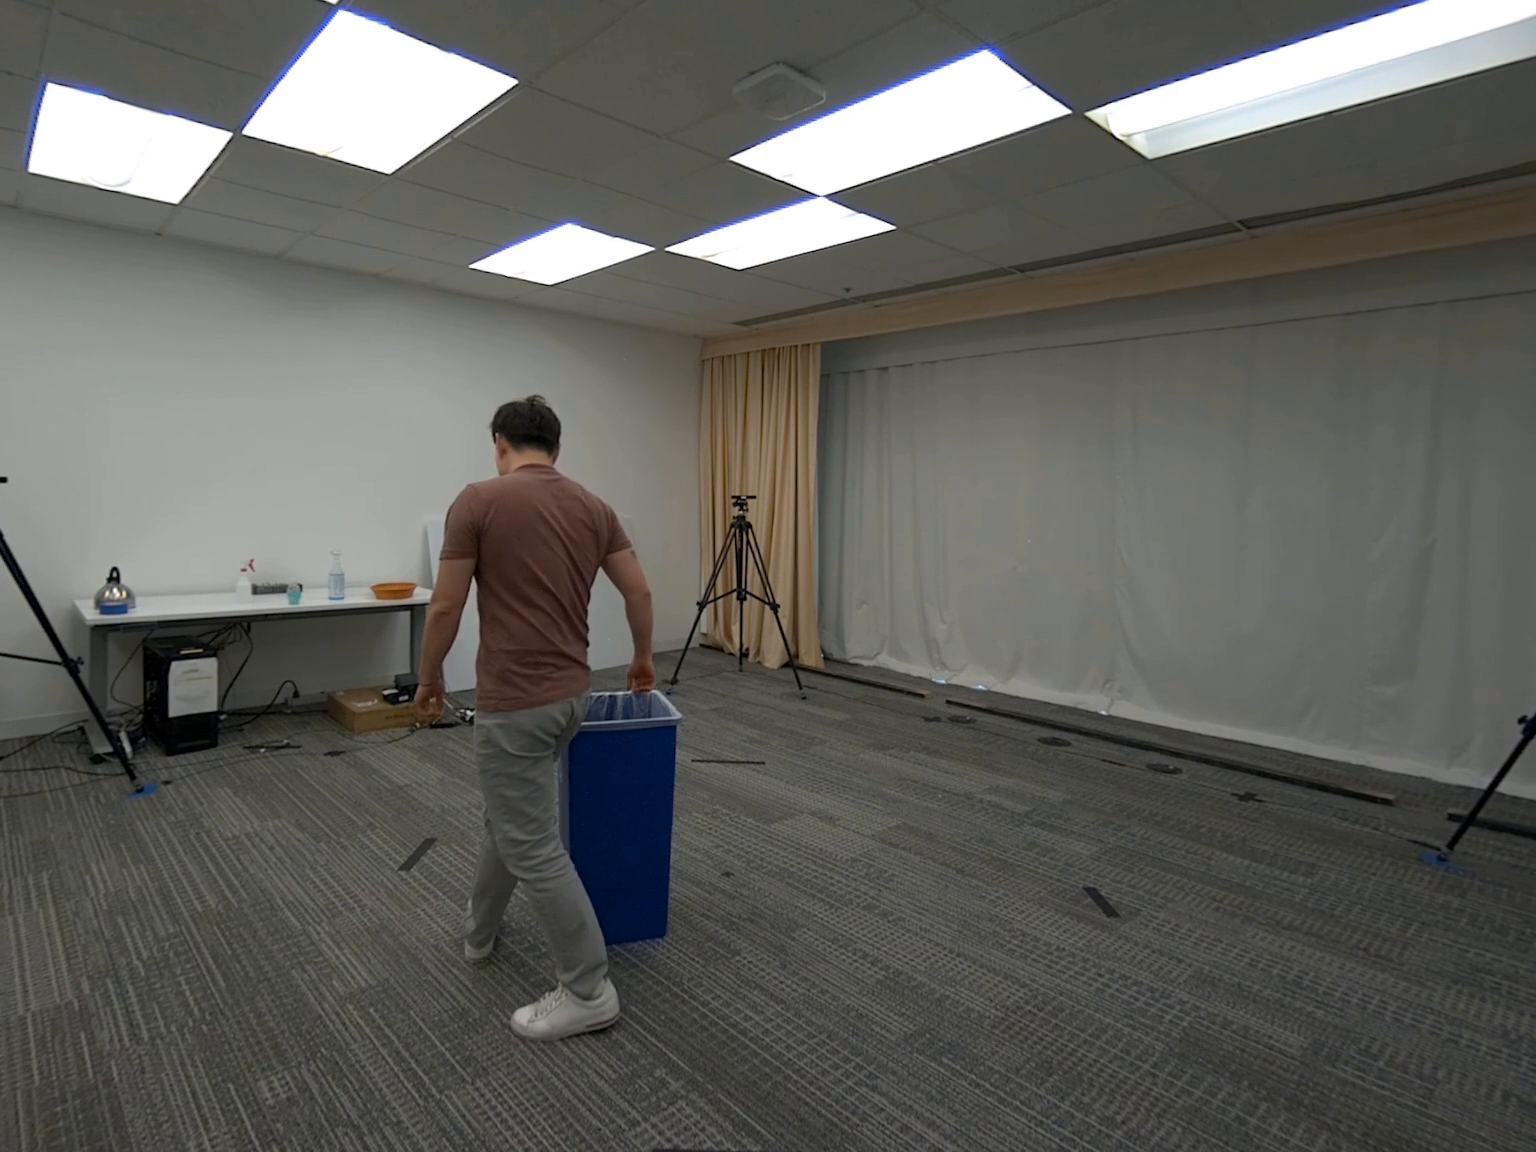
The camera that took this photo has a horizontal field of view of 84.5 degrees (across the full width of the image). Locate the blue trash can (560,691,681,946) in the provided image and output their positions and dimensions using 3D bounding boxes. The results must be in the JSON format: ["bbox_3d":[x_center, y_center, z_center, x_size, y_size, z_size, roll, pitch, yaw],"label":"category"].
[{"bbox_3d":[-0.499,0.772,2.723,0.372,0.712,0.380,0,4,-20],"label":"blue trash can"}]
